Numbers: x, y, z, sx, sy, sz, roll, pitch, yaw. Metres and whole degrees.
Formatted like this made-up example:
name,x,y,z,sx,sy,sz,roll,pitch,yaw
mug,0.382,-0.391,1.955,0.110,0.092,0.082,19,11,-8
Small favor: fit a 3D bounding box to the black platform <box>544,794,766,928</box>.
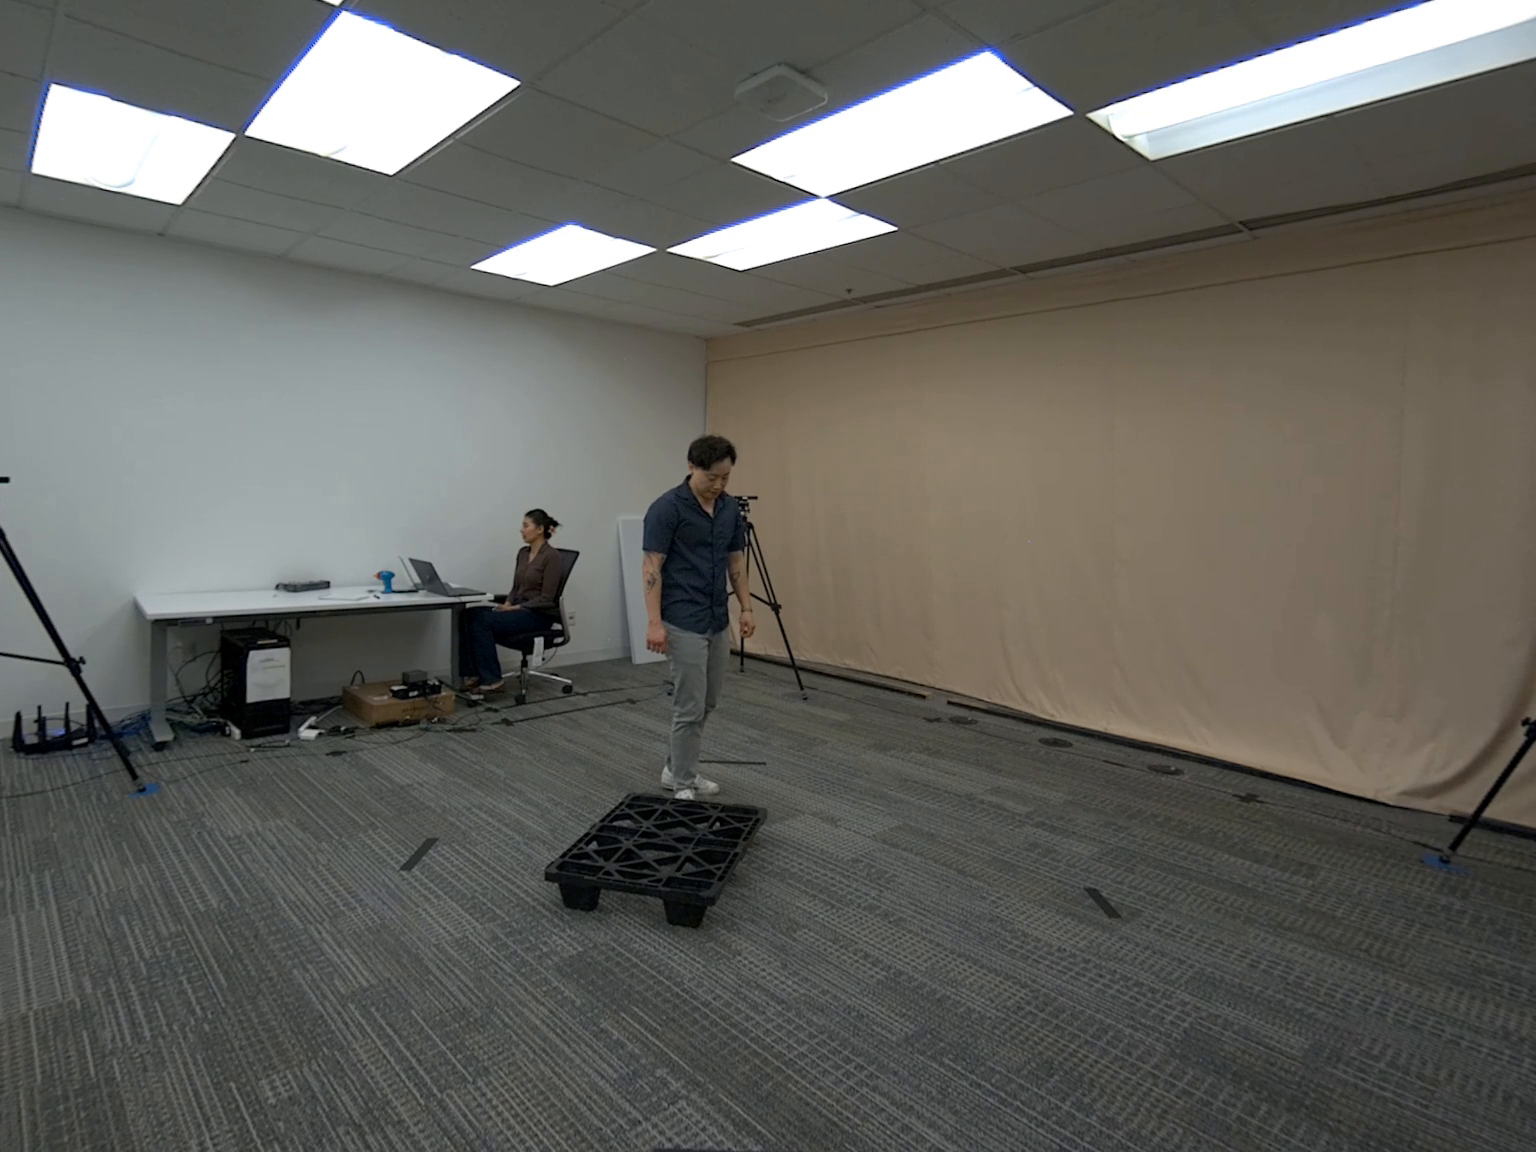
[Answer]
name,x,y,z,sx,sy,sz,roll,pitch,yaw
black platform,-0.377,1.029,3.117,0.612,0.143,0.799,3,6,13
